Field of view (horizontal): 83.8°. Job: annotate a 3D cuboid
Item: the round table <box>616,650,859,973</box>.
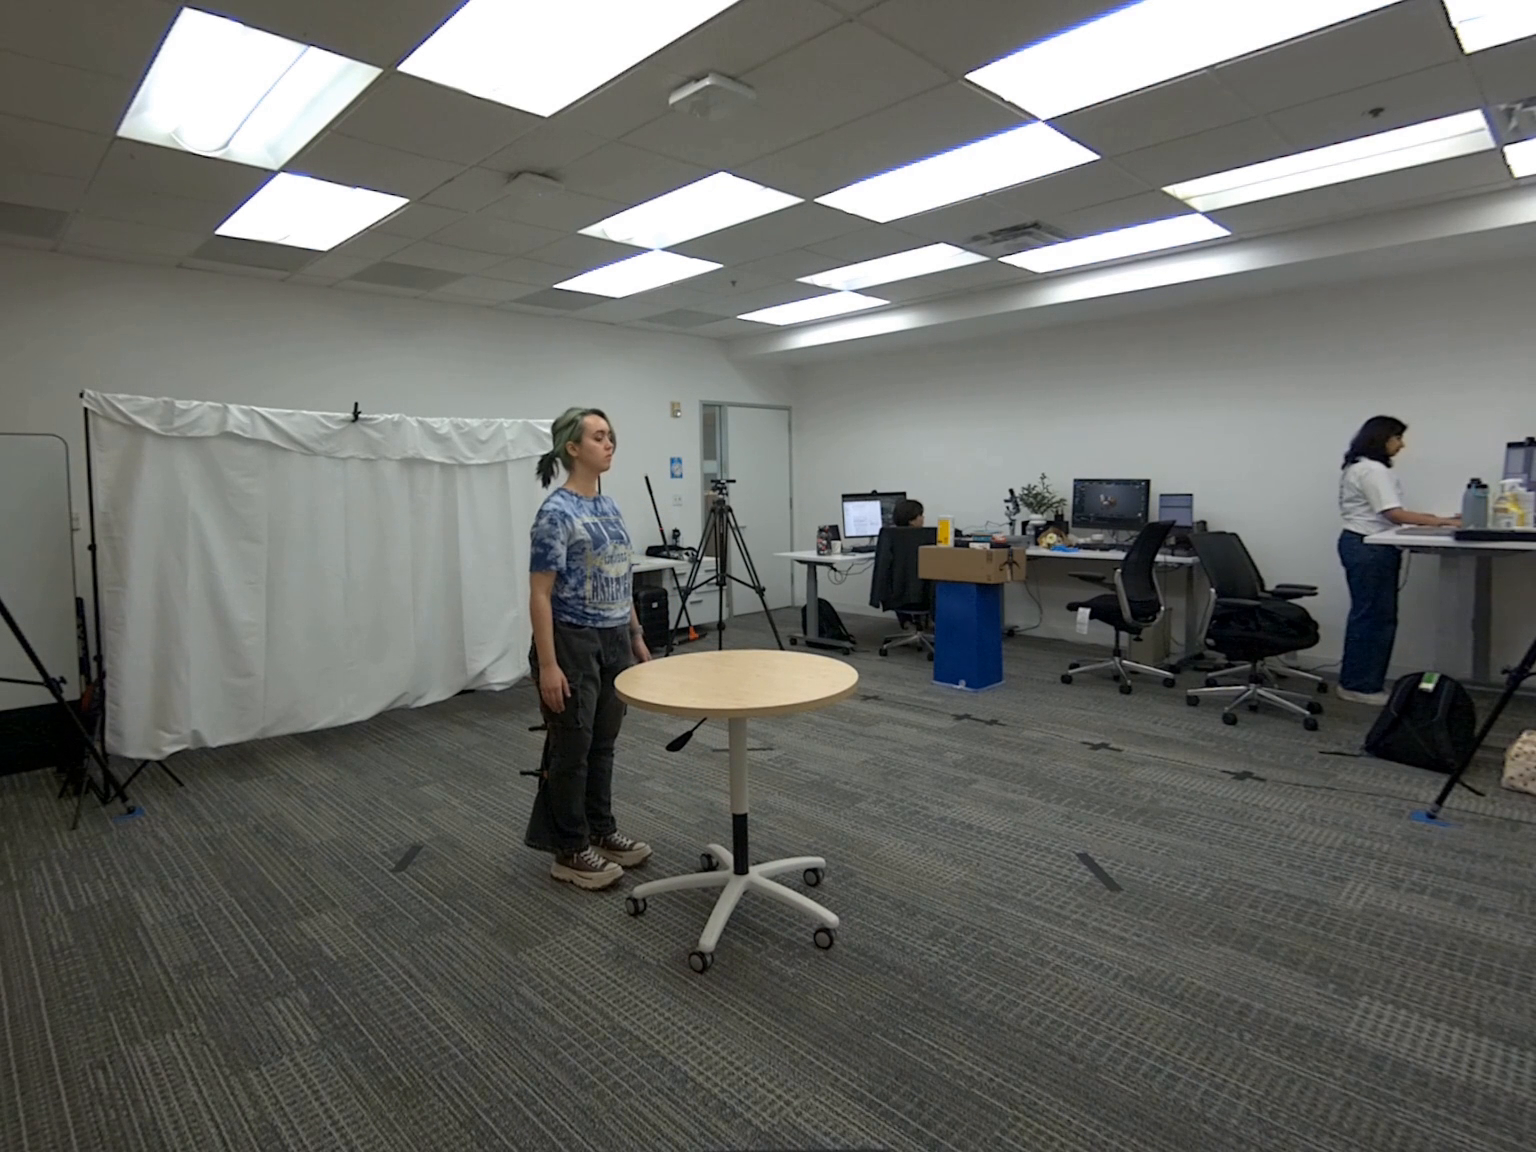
[{"bbox_3d":[-0.088,0.709,2.718,0.763,0.791,0.768,-2,5,-2],"label":"round table"}]
